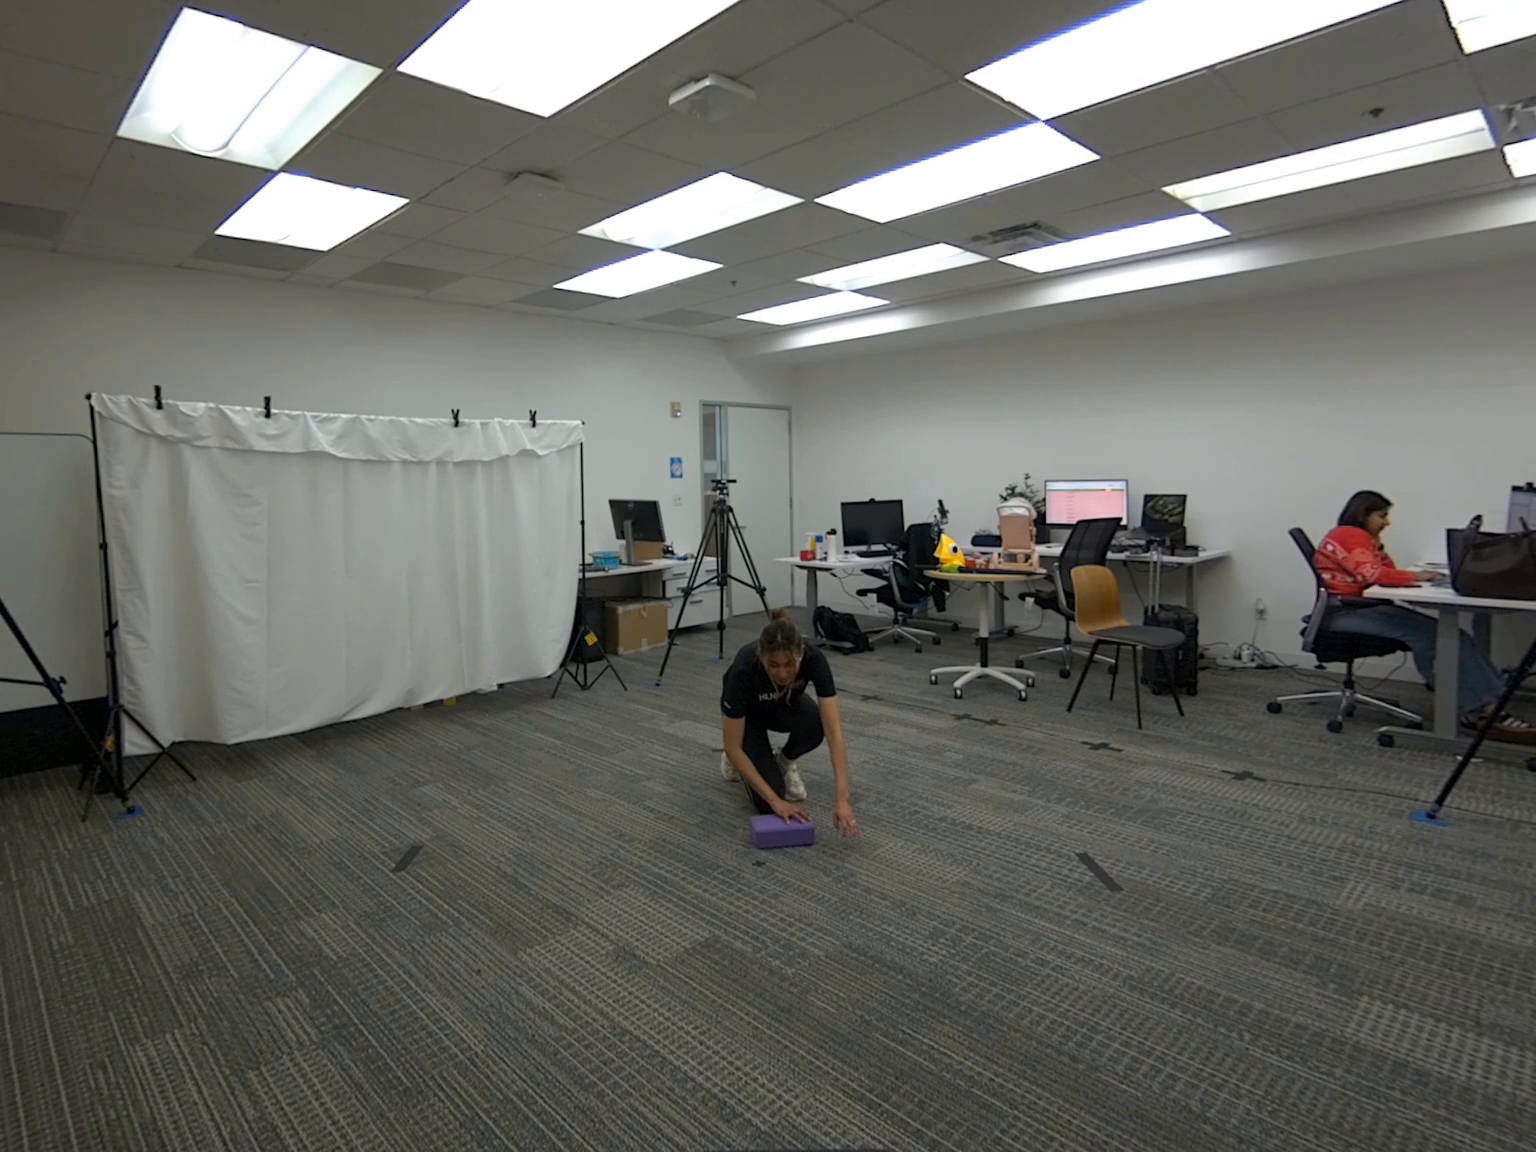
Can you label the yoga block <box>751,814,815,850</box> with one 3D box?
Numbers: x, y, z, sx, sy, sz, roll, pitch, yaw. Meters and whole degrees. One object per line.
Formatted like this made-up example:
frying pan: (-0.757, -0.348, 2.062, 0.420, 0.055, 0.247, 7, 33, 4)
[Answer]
yoga block: (0.041, 0.985, 3.300, 0.227, 0.076, 0.151, -1, 6, -9)
